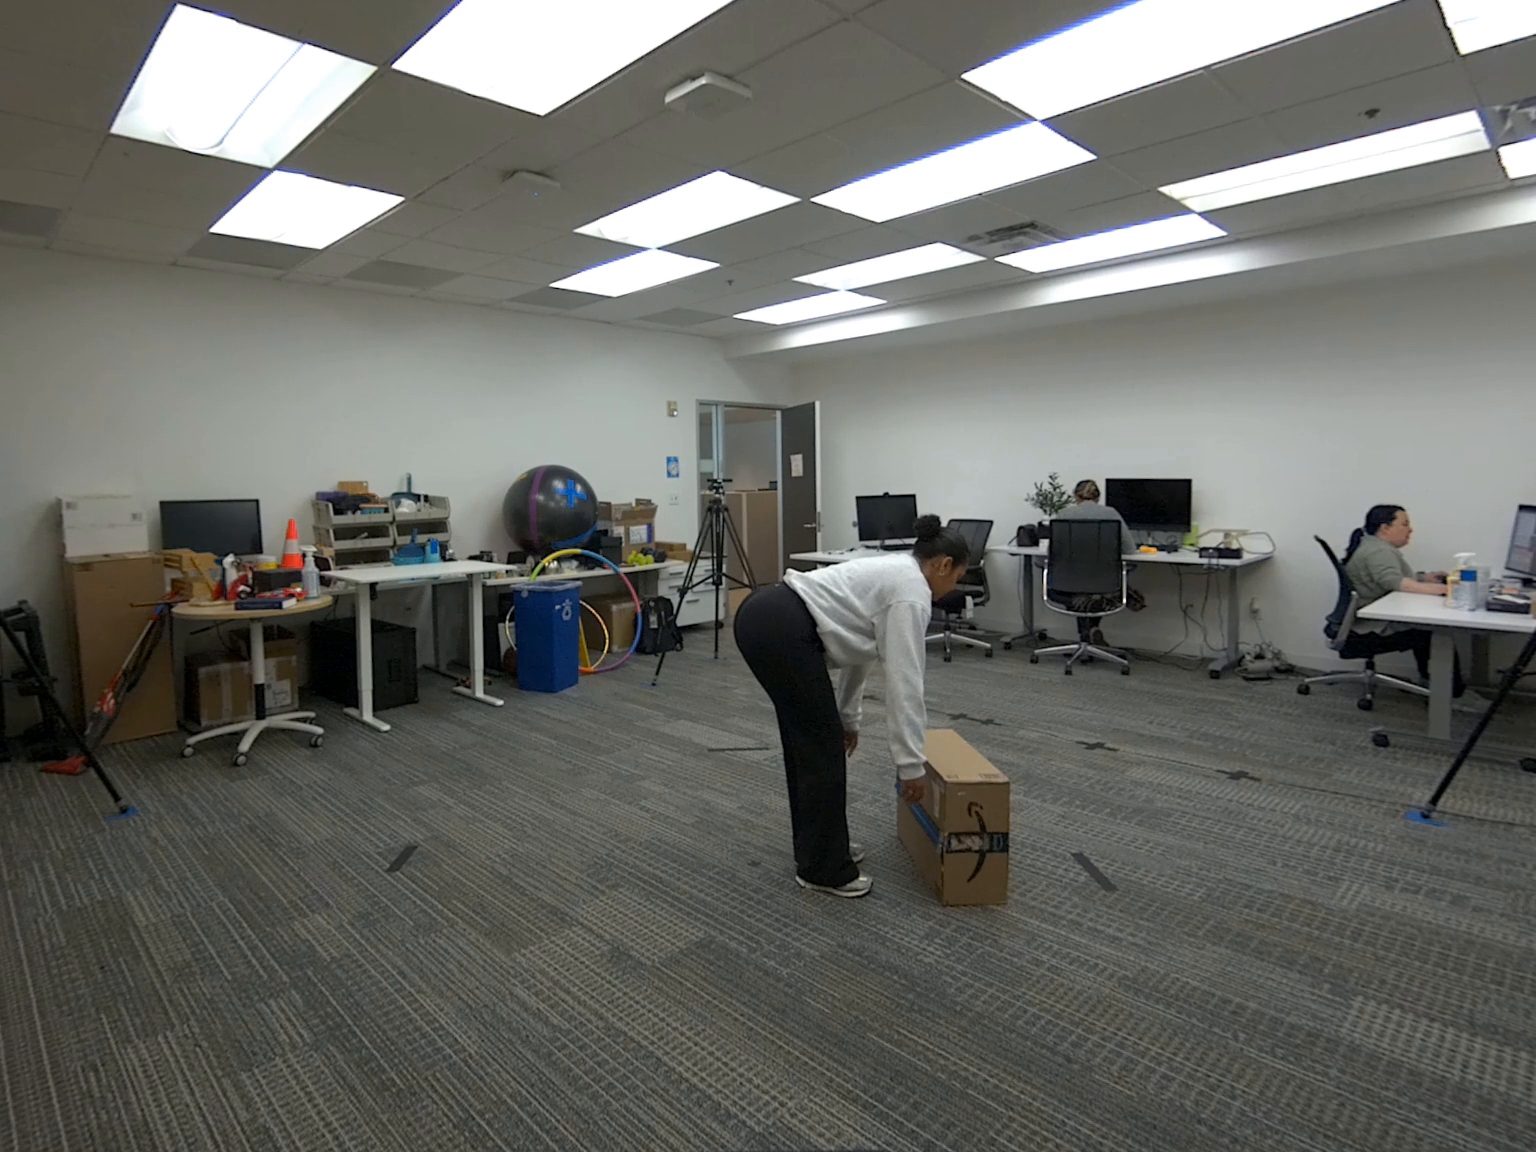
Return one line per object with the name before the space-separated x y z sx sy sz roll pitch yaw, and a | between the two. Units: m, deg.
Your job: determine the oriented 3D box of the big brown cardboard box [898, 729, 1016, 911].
big brown cardboard box | 0.647 0.833 3.036 0.232 0.416 0.593 0 5 -4
